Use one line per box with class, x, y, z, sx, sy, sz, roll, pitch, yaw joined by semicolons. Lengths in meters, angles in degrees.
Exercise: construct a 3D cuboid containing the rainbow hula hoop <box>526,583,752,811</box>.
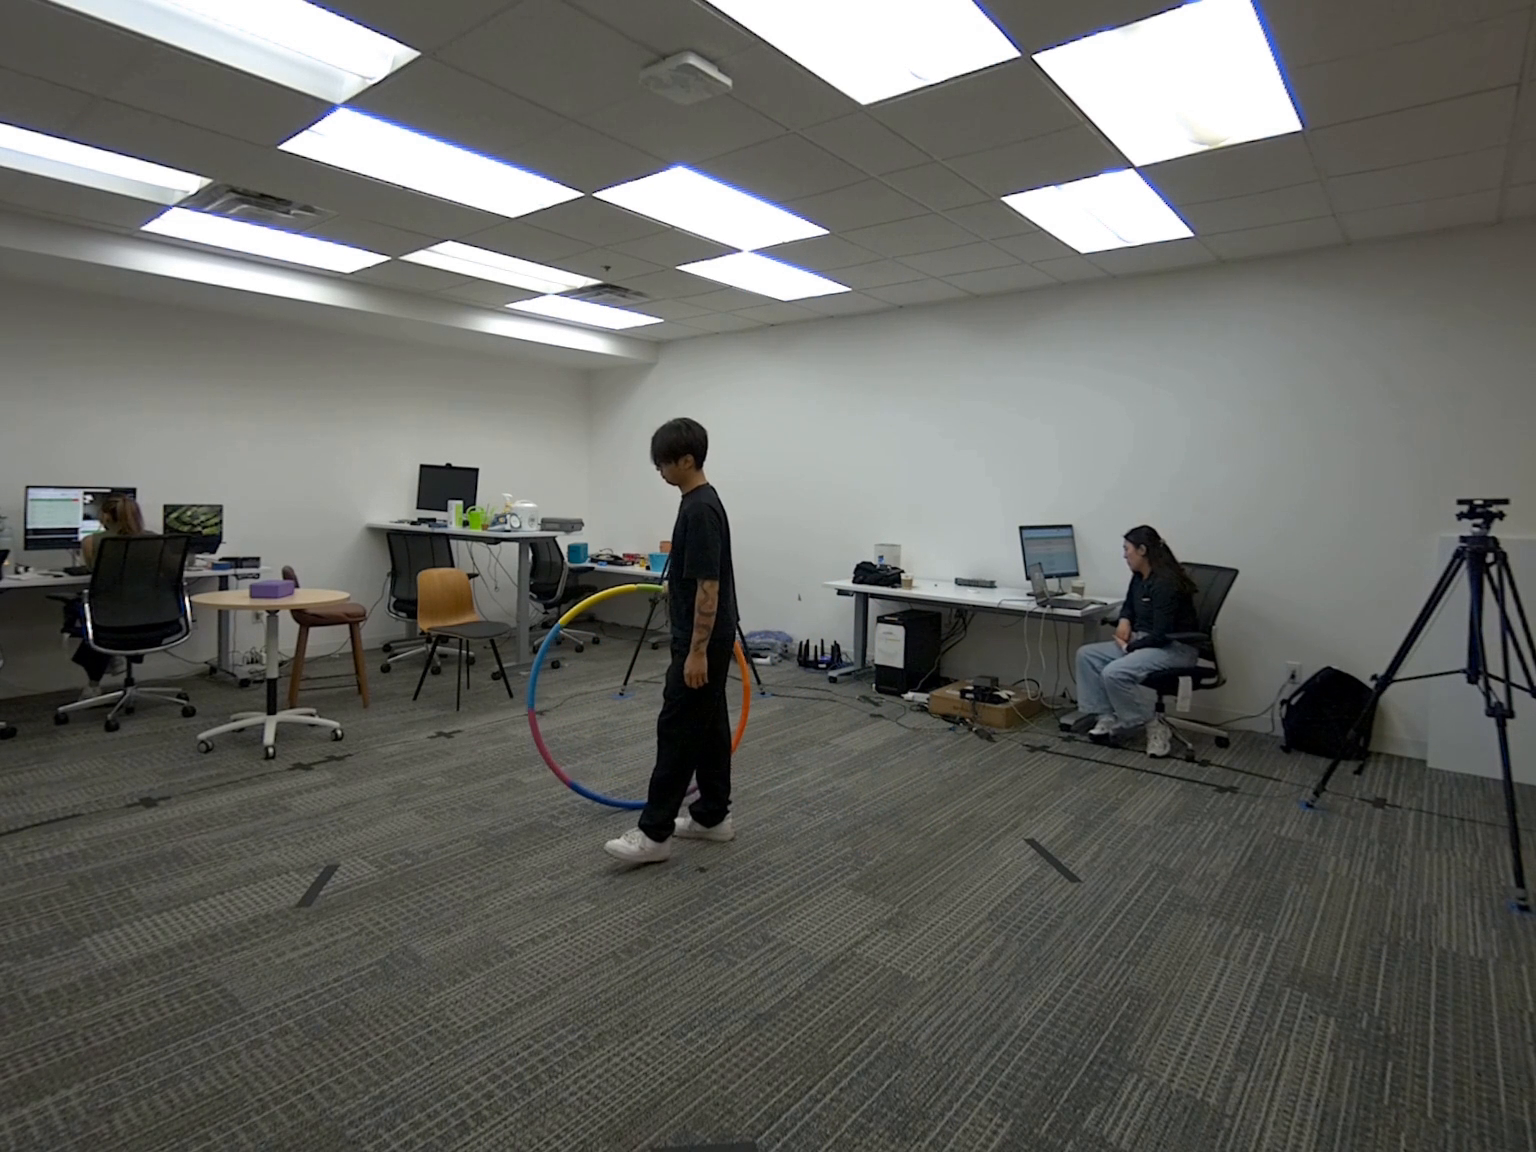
rainbow hula hoop;-0.566;0.525;3.728;0.962;0.984;0.036;-1;-6;-16
